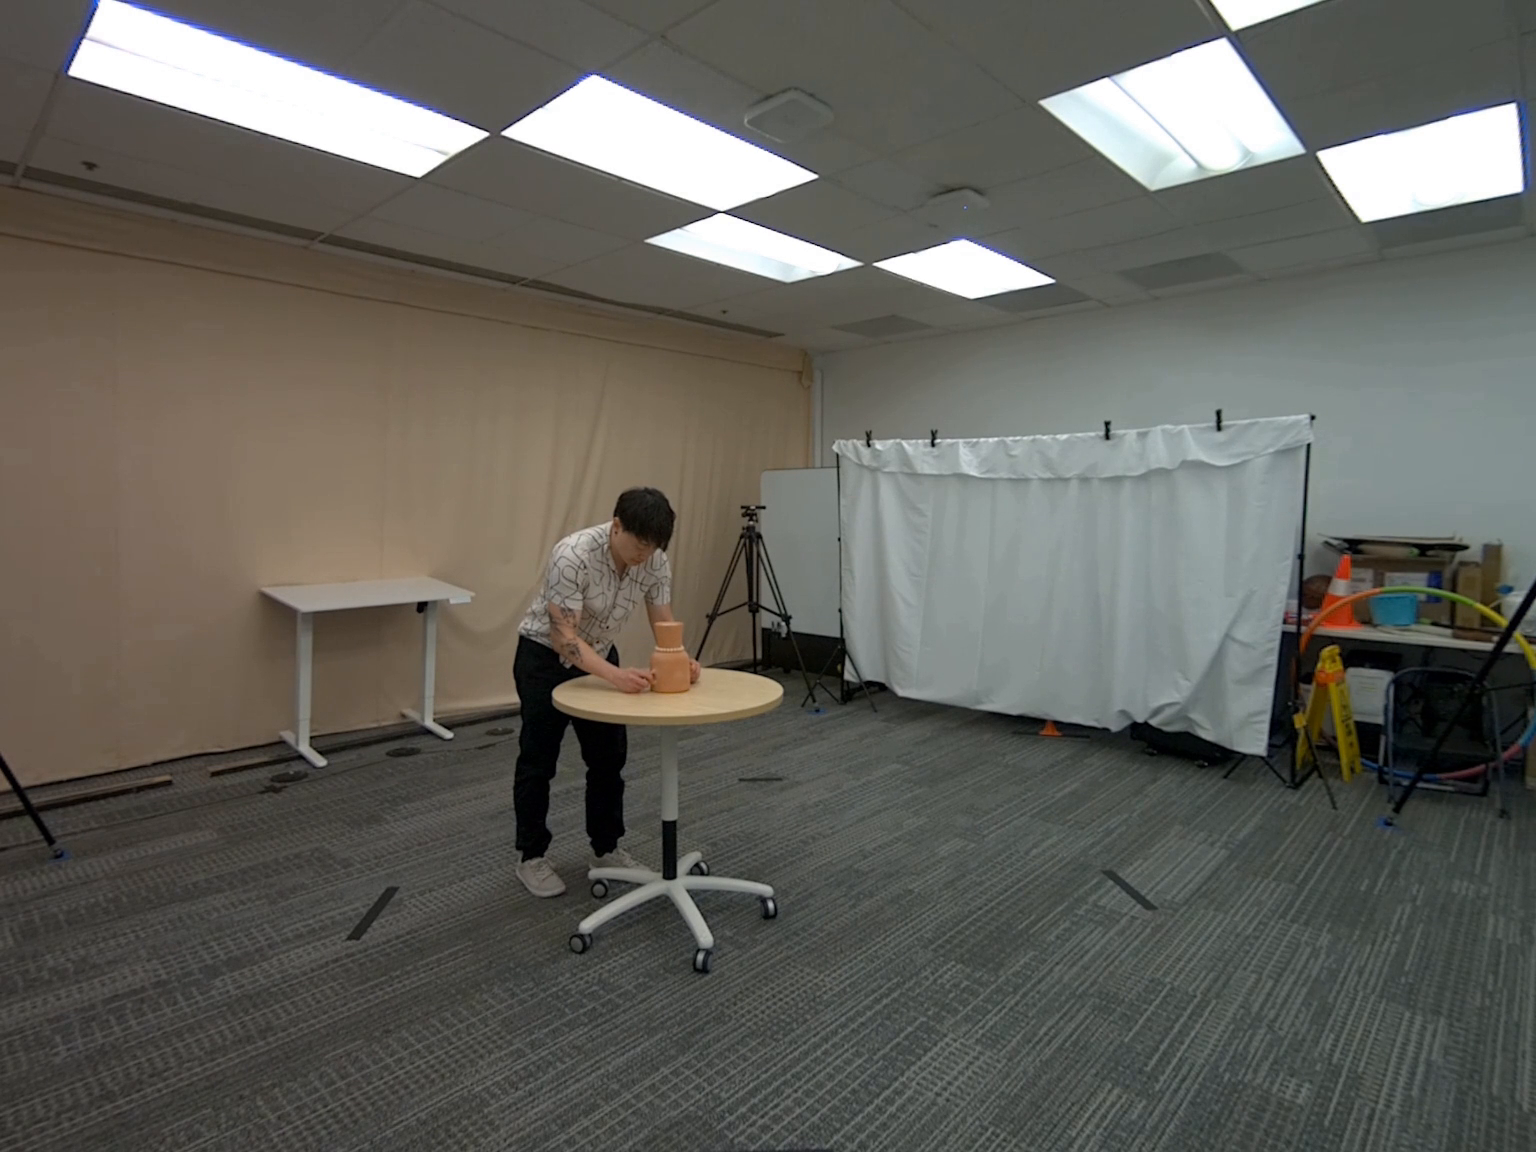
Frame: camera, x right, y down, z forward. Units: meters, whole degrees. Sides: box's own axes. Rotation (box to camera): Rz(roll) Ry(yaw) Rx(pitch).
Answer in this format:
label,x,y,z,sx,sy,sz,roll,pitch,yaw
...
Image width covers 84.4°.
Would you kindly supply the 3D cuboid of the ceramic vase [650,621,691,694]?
label,x,y,z,sx,sy,sz,roll,pitch,yaw
ceramic vase,-0.330,0.268,2.796,0.136,0.219,0.158,-2,2,6
